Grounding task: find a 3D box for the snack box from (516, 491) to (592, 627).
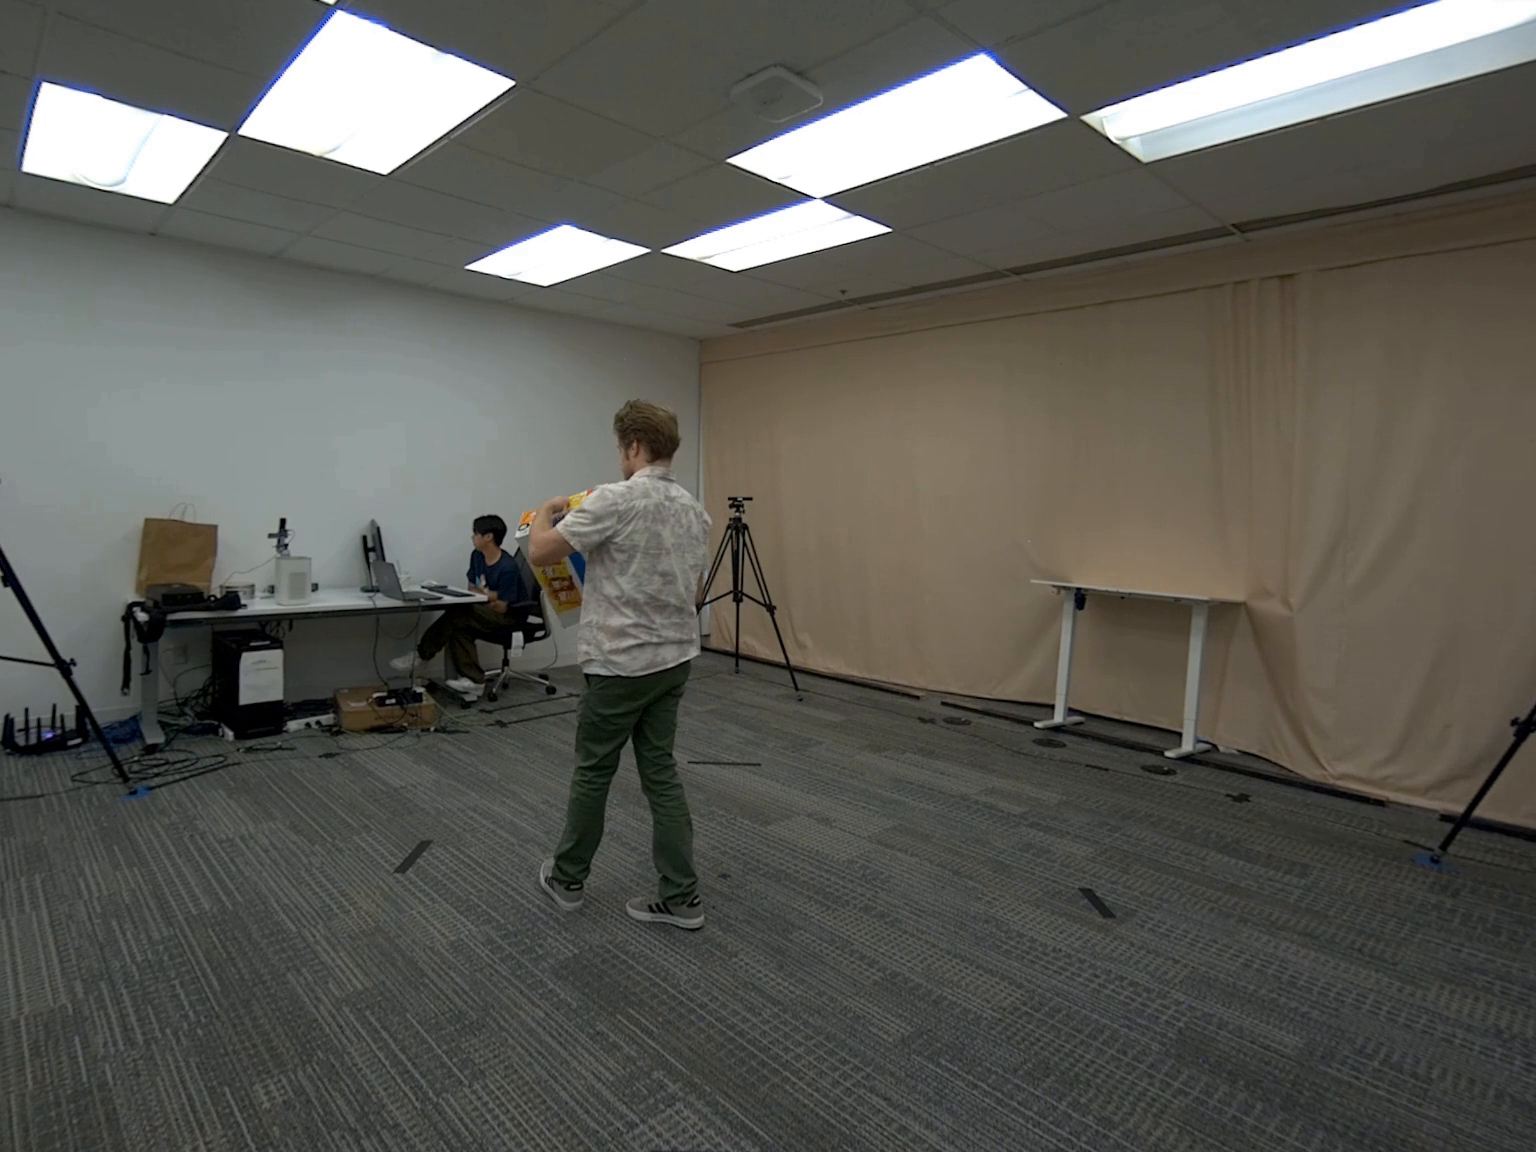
[{"bbox_3d":[-0.663,-0.073,3.077,0.341,0.396,0.210,-18,27,5],"label":"snack box"}]
